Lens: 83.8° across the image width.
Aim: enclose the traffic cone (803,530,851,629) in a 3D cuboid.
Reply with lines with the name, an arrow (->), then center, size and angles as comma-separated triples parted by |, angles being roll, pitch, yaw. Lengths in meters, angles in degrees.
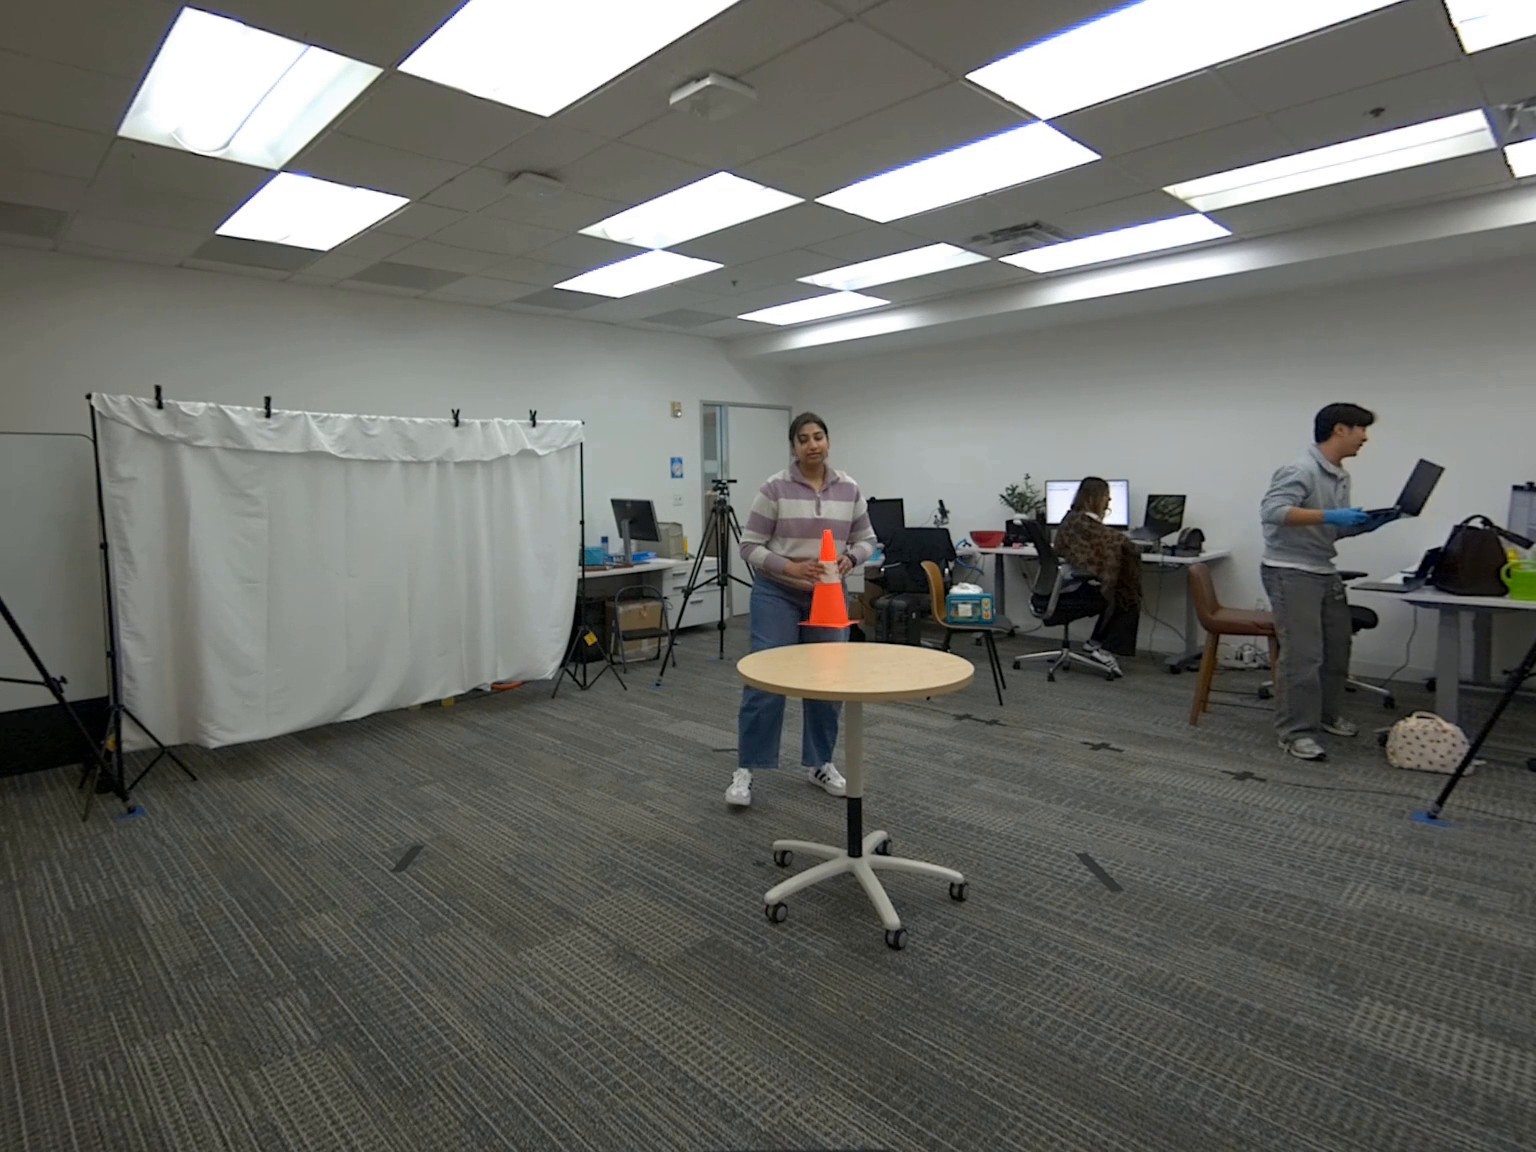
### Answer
traffic cone -> 0.238, 0.005, 3.513 | 0.209, 0.383, 0.200 | 1, 3, 32
